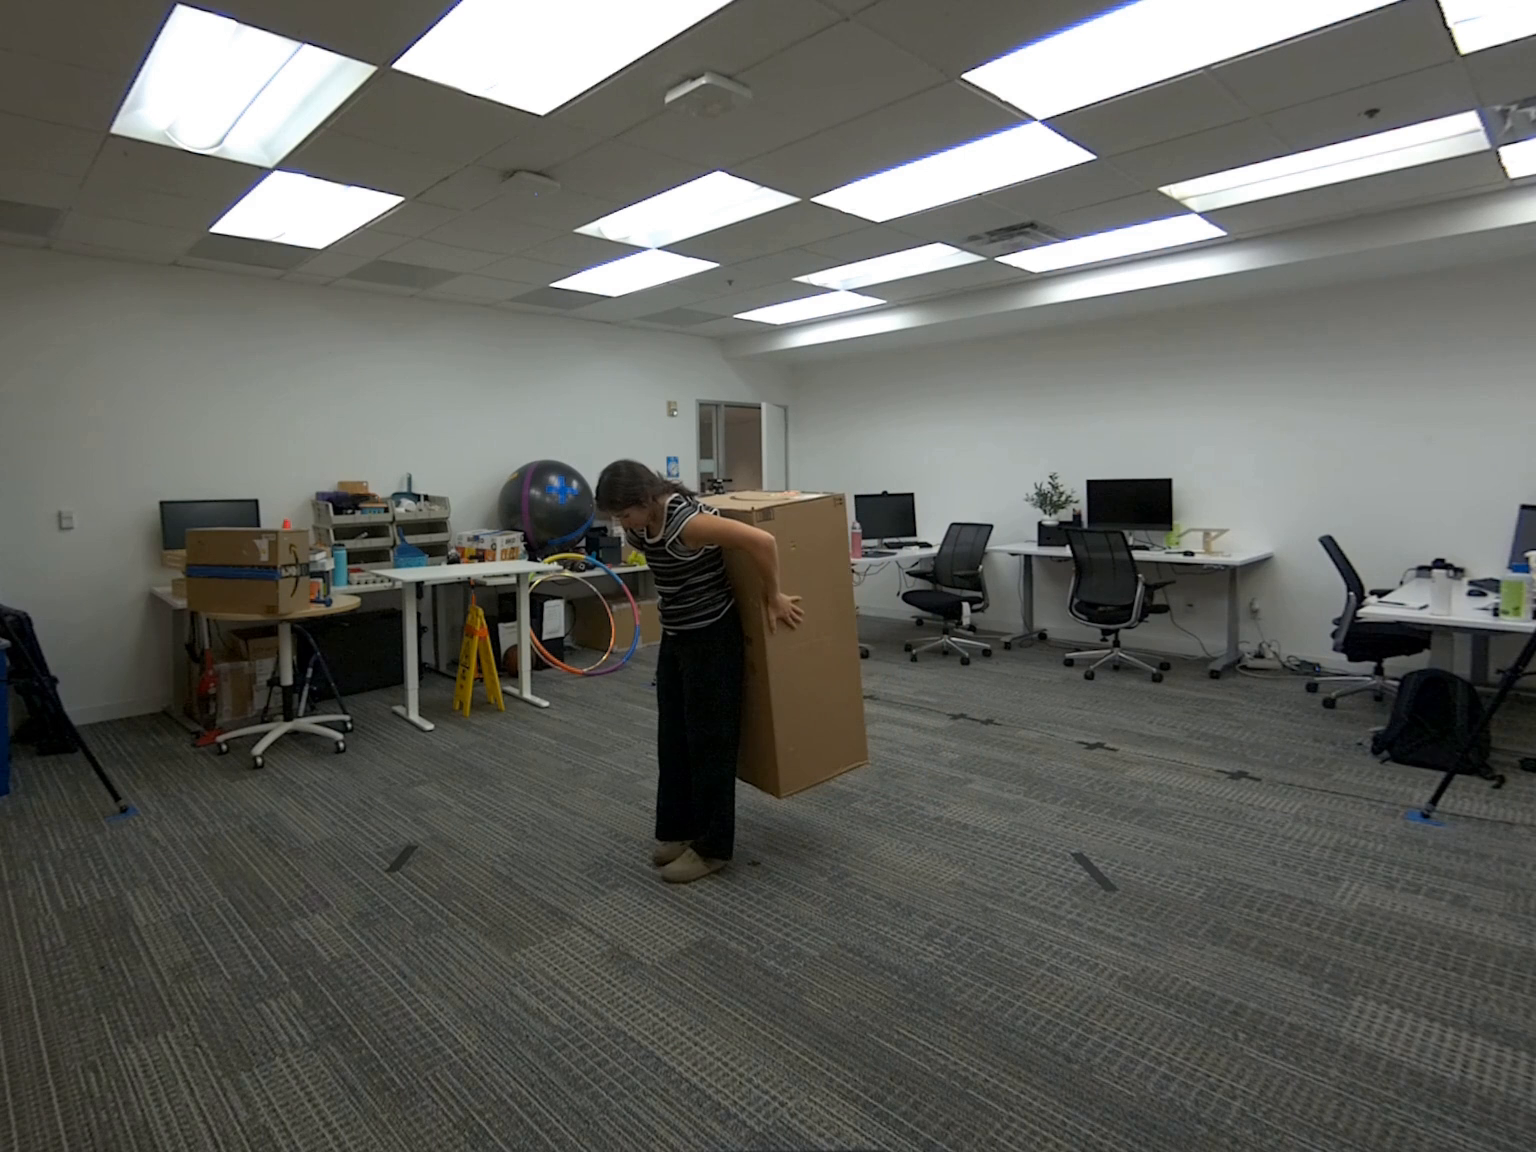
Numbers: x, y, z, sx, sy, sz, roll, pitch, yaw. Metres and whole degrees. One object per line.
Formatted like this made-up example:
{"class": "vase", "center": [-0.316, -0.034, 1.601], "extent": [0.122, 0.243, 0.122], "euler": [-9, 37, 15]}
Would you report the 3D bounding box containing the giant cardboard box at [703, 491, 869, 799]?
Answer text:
{"class": "giant cardboard box", "center": [-0.003, 0.216, 3.258], "extent": [0.417, 1.018, 0.595], "euler": [-11, 10, -35]}
